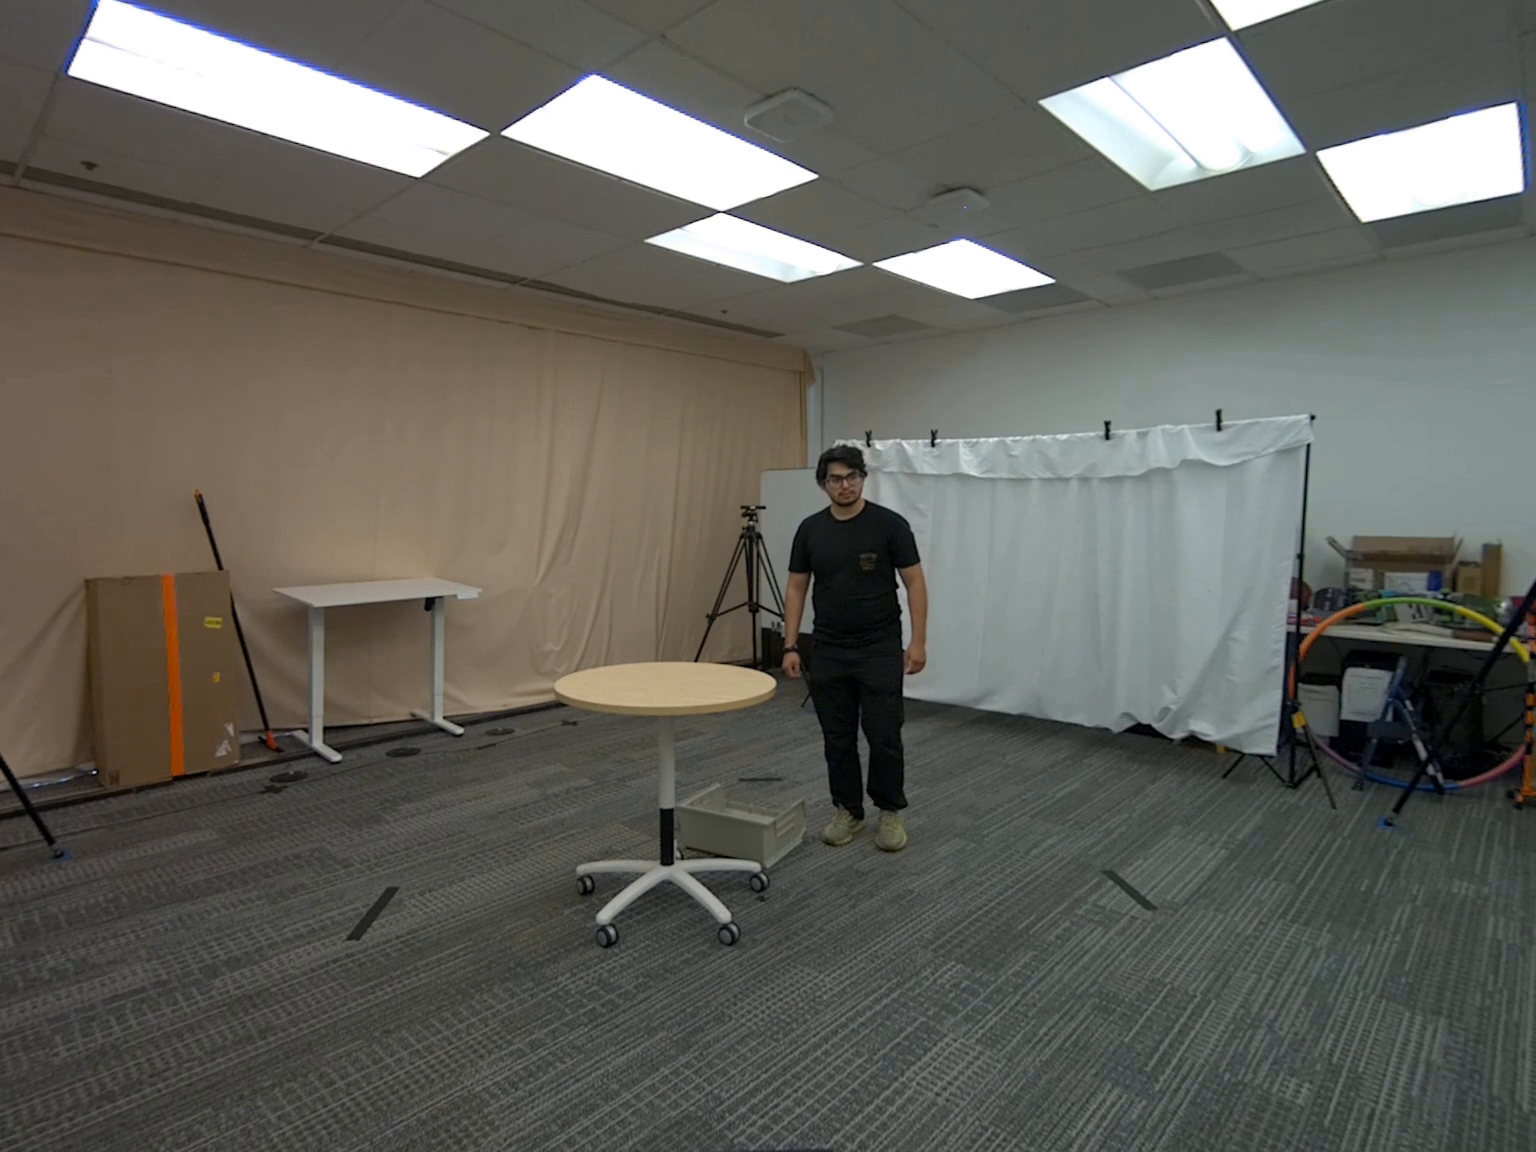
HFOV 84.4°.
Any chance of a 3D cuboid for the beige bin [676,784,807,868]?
[{"bbox_3d":[-0.102,1.012,3.480,0.434,0.188,0.368,3,7,29],"label":"beige bin"}]
